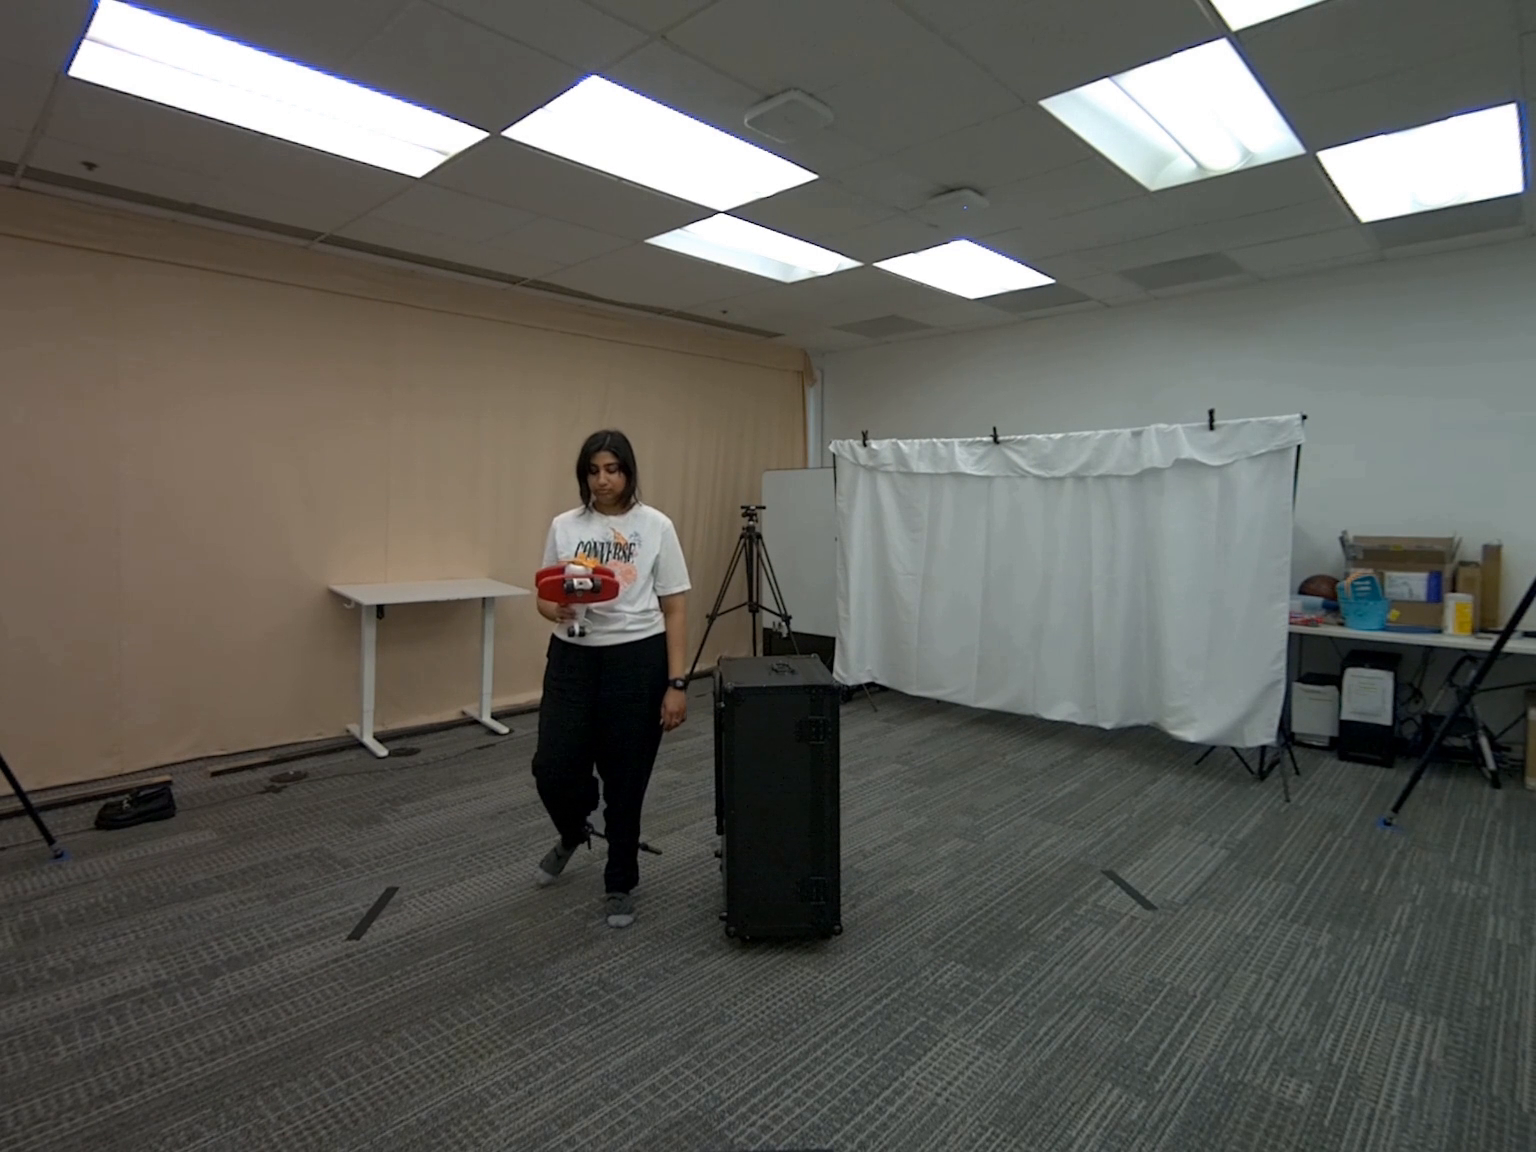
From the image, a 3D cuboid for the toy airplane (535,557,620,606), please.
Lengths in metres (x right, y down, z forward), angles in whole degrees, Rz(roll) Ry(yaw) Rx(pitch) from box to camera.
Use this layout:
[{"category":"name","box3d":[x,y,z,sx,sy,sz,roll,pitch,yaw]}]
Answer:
[{"category":"toy airplane","box3d":[-0.620,0.068,2.676,0.242,0.260,0.161,28,22,-34]}]
